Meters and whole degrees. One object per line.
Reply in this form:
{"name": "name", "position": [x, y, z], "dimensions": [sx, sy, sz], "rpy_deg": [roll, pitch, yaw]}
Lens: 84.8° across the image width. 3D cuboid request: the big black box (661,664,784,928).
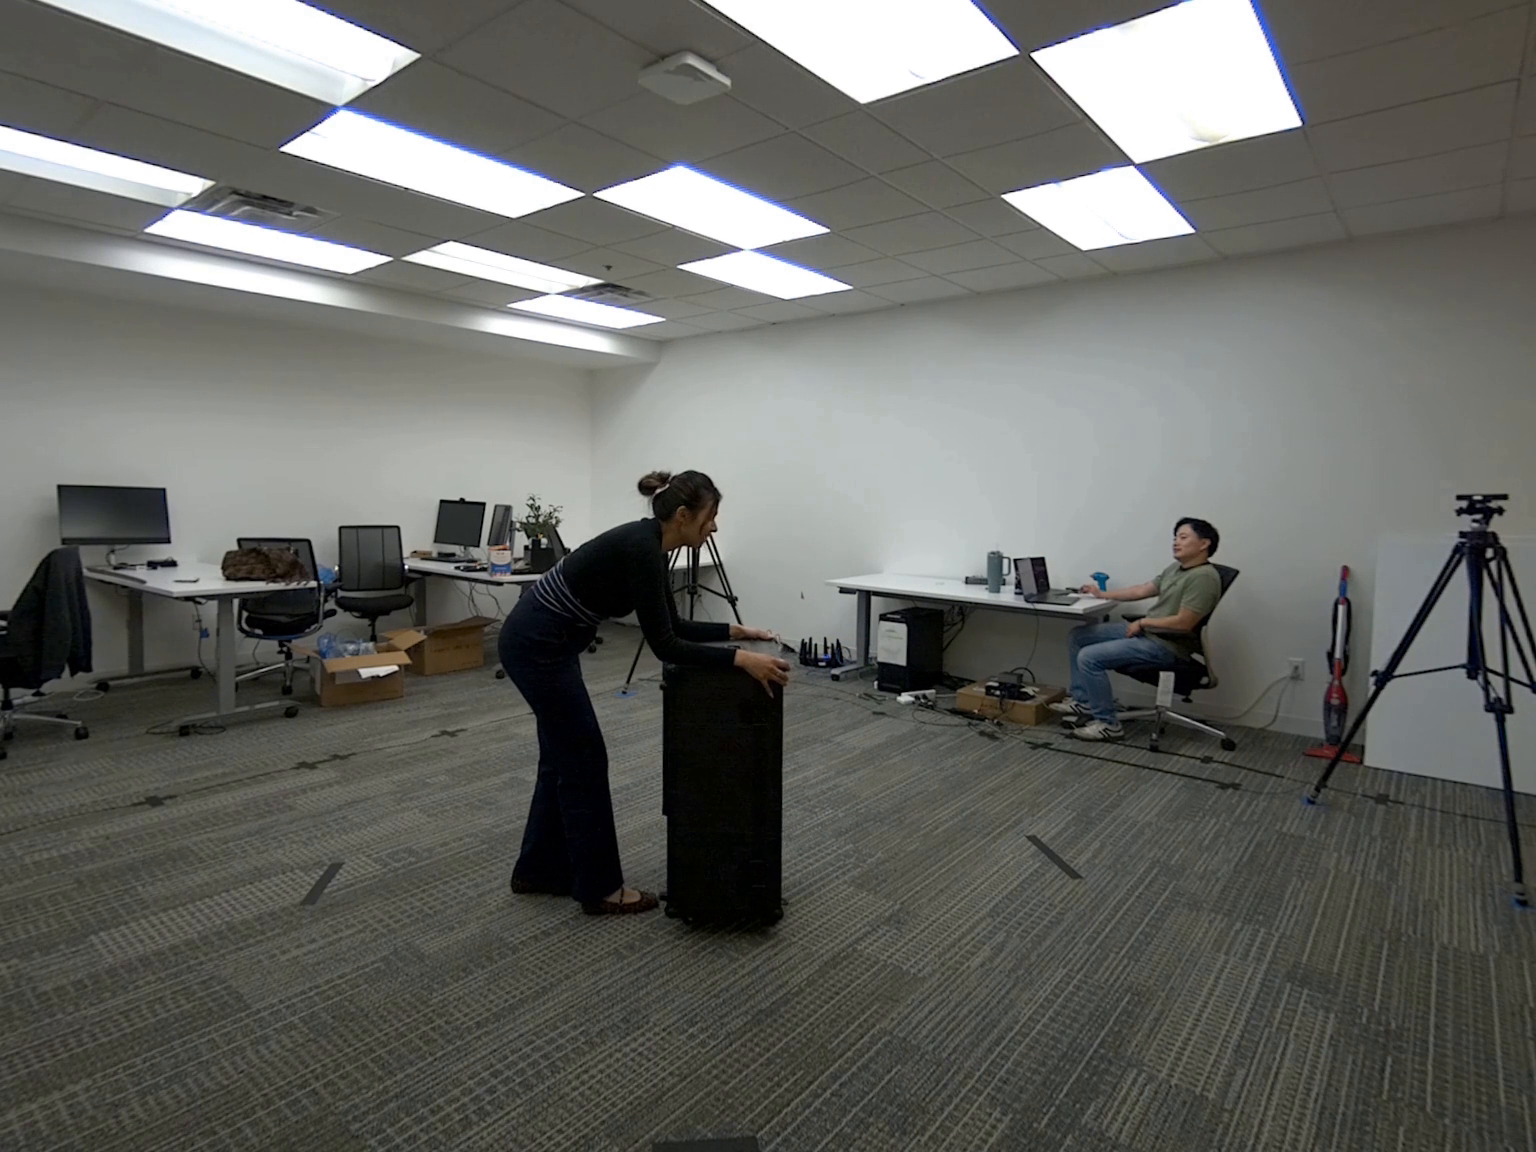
{"name": "big black box", "position": [-0.162, 0.669, 2.814], "dimensions": [0.396, 0.859, 0.524], "rpy_deg": [0, 4, -2]}
